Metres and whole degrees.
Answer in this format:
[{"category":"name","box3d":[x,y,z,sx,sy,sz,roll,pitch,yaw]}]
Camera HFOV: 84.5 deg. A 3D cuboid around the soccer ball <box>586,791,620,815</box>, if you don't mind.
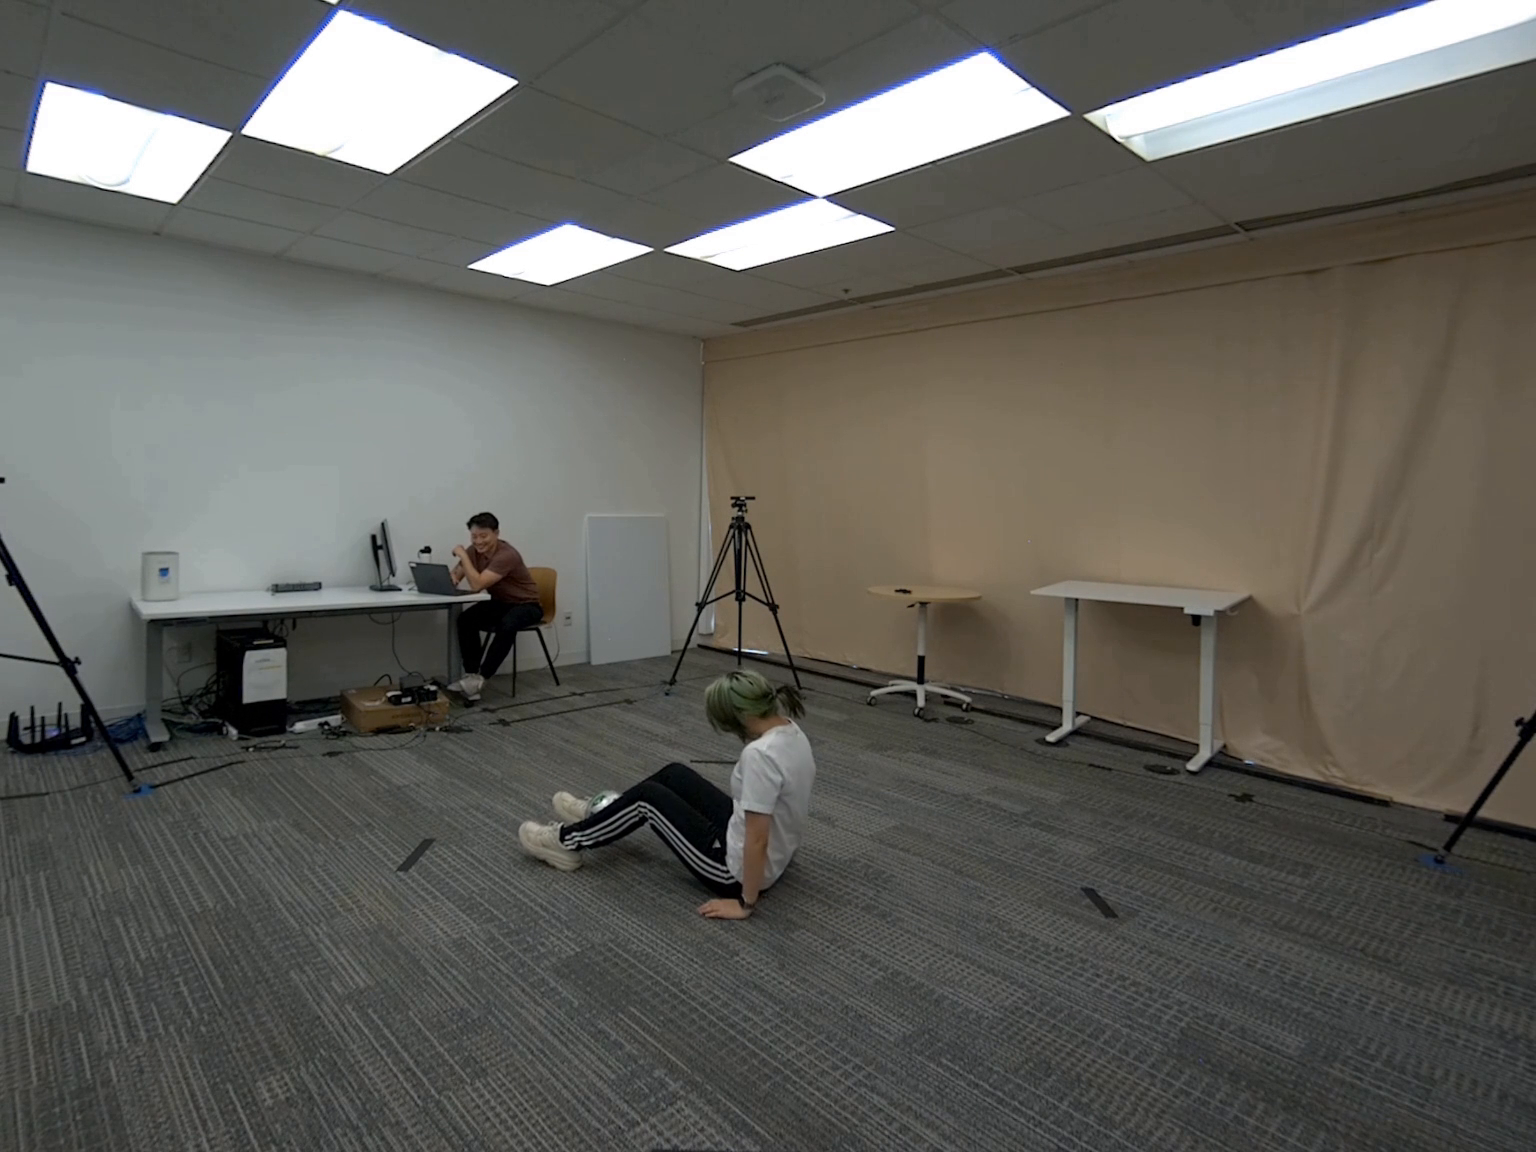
[{"category":"soccer ball","box3d":[-0.597,0.913,3.217,0.187,0.187,0.188,1,4,-1]}]
